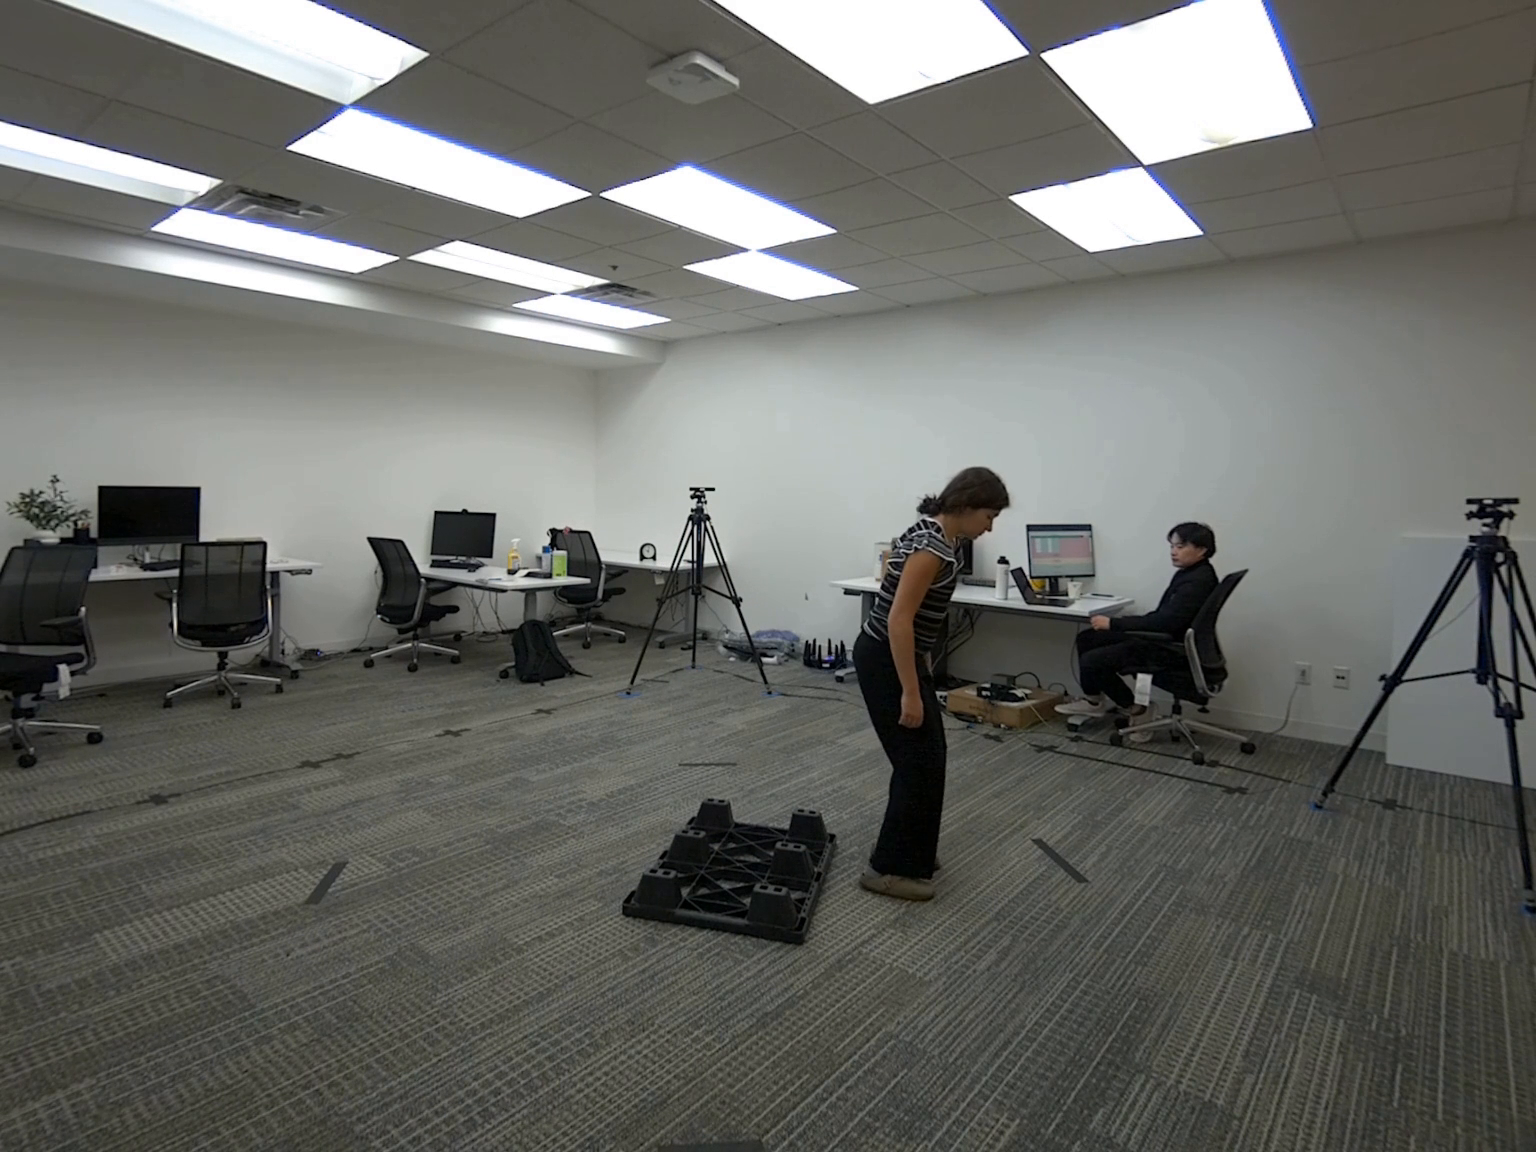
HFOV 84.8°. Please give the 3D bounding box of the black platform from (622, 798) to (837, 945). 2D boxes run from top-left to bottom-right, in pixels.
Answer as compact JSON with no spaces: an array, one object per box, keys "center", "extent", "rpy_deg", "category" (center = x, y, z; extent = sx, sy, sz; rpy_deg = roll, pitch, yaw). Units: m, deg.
[{"center":[-0.112,1.006,3.057],"extent":[0.615,0.143,0.796],"rpy_deg":[3,6,13],"category":"black platform"}]
